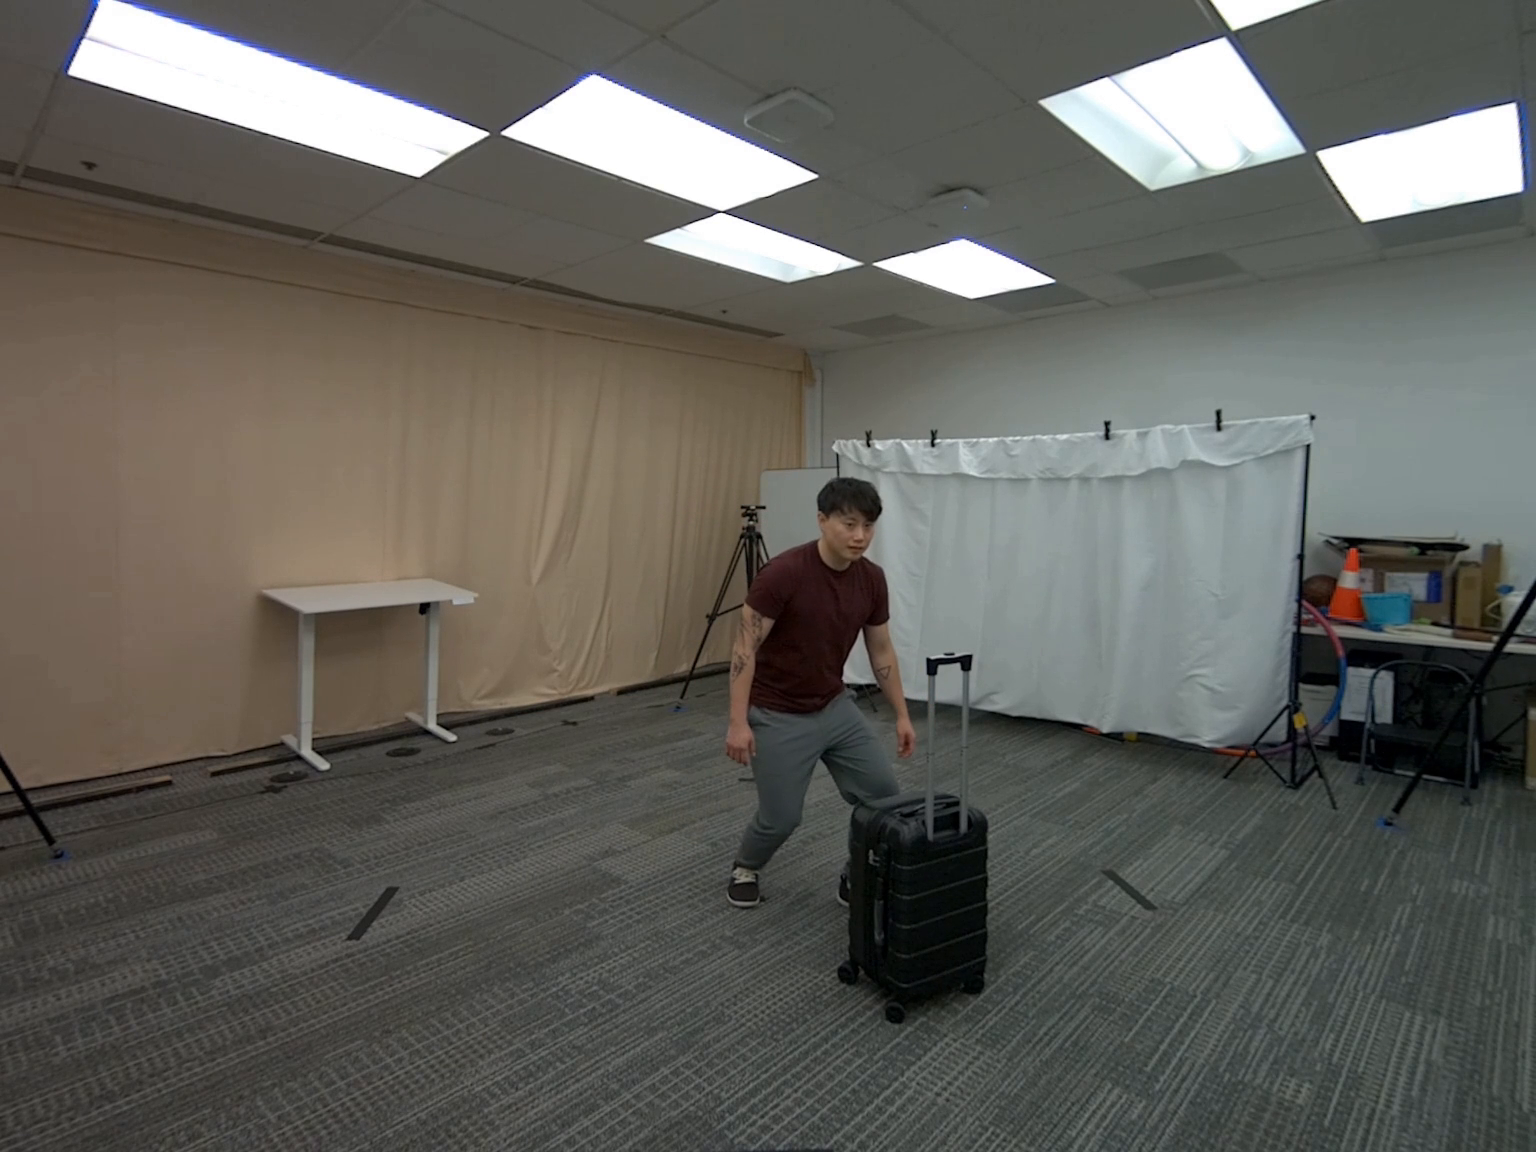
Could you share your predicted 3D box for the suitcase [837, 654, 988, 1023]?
[{"bbox_3d":[0.438,0.706,2.418,0.374,0.977,0.264,0,3,-30],"label":"suitcase"}]
